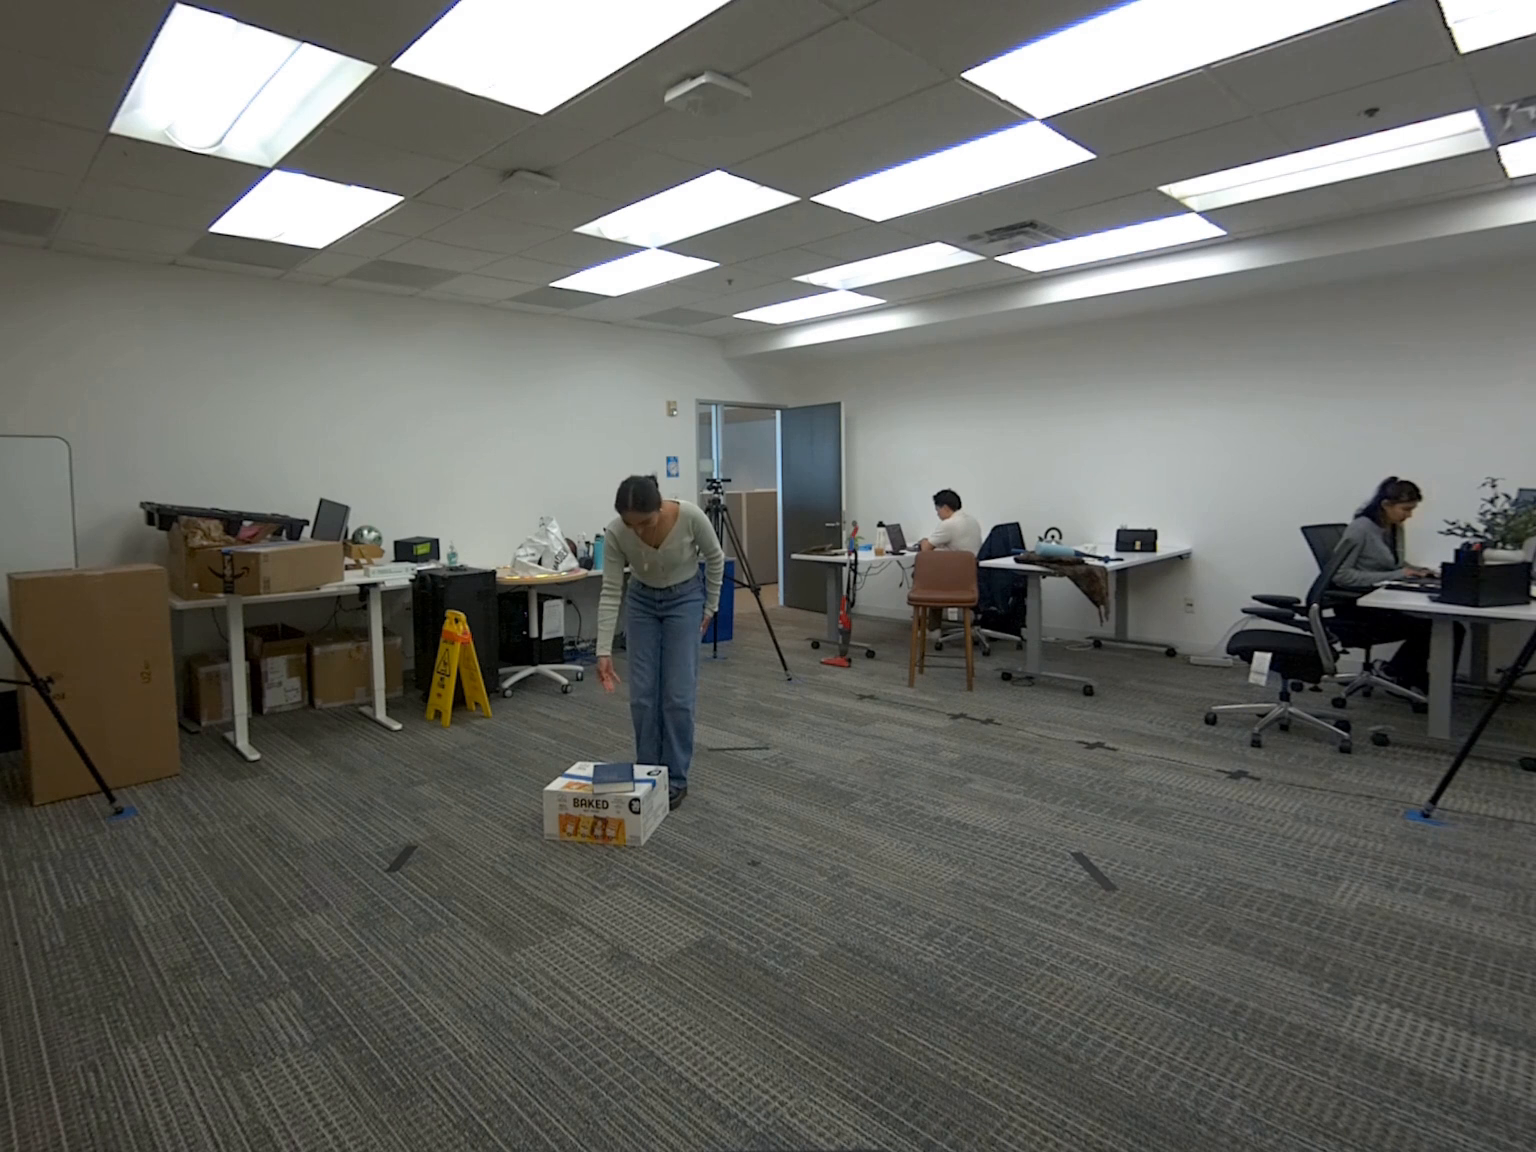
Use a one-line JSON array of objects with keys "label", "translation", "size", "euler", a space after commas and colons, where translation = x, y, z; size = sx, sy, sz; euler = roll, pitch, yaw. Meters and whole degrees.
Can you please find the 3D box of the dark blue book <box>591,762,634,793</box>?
[{"label": "dark blue book", "translation": [-0.621, 0.808, 3.398], "size": [0.162, 0.045, 0.248], "euler": [-3, 6, -9]}]
